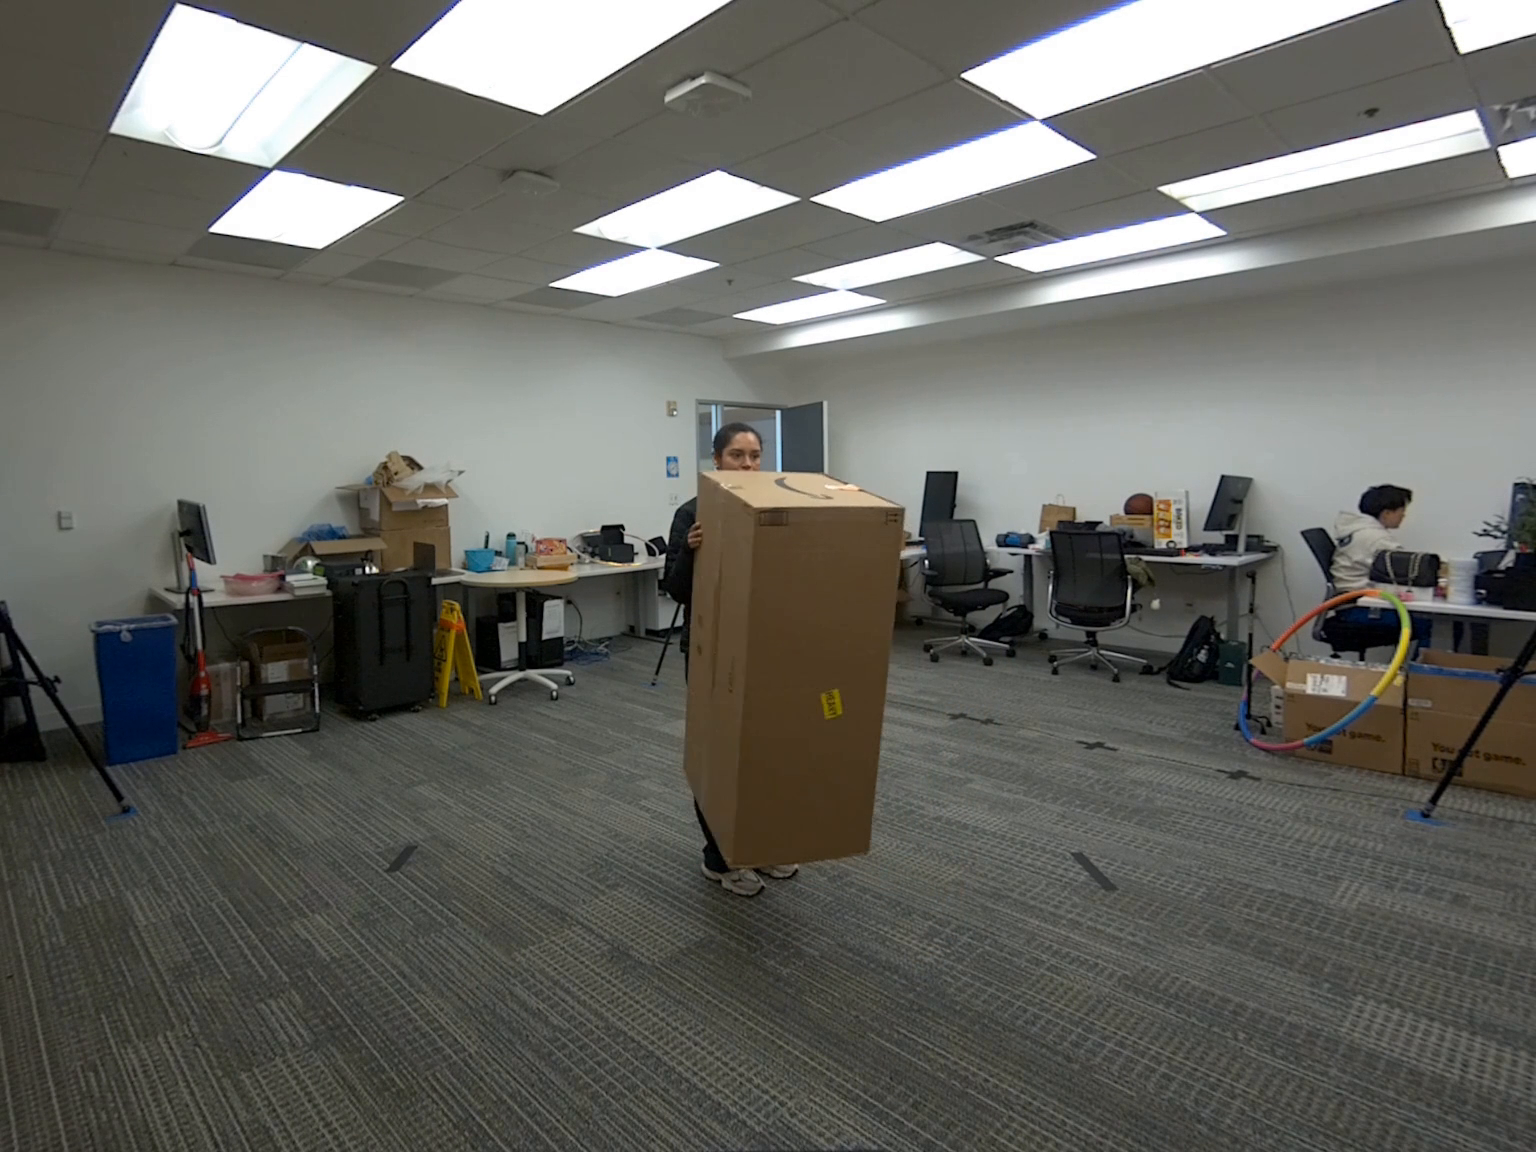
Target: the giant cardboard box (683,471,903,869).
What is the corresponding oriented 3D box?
[{"bbox_3d":[0.049,0.239,2.579,0.419,1.015,0.593,-1,13,-18],"label":"giant cardboard box"}]
